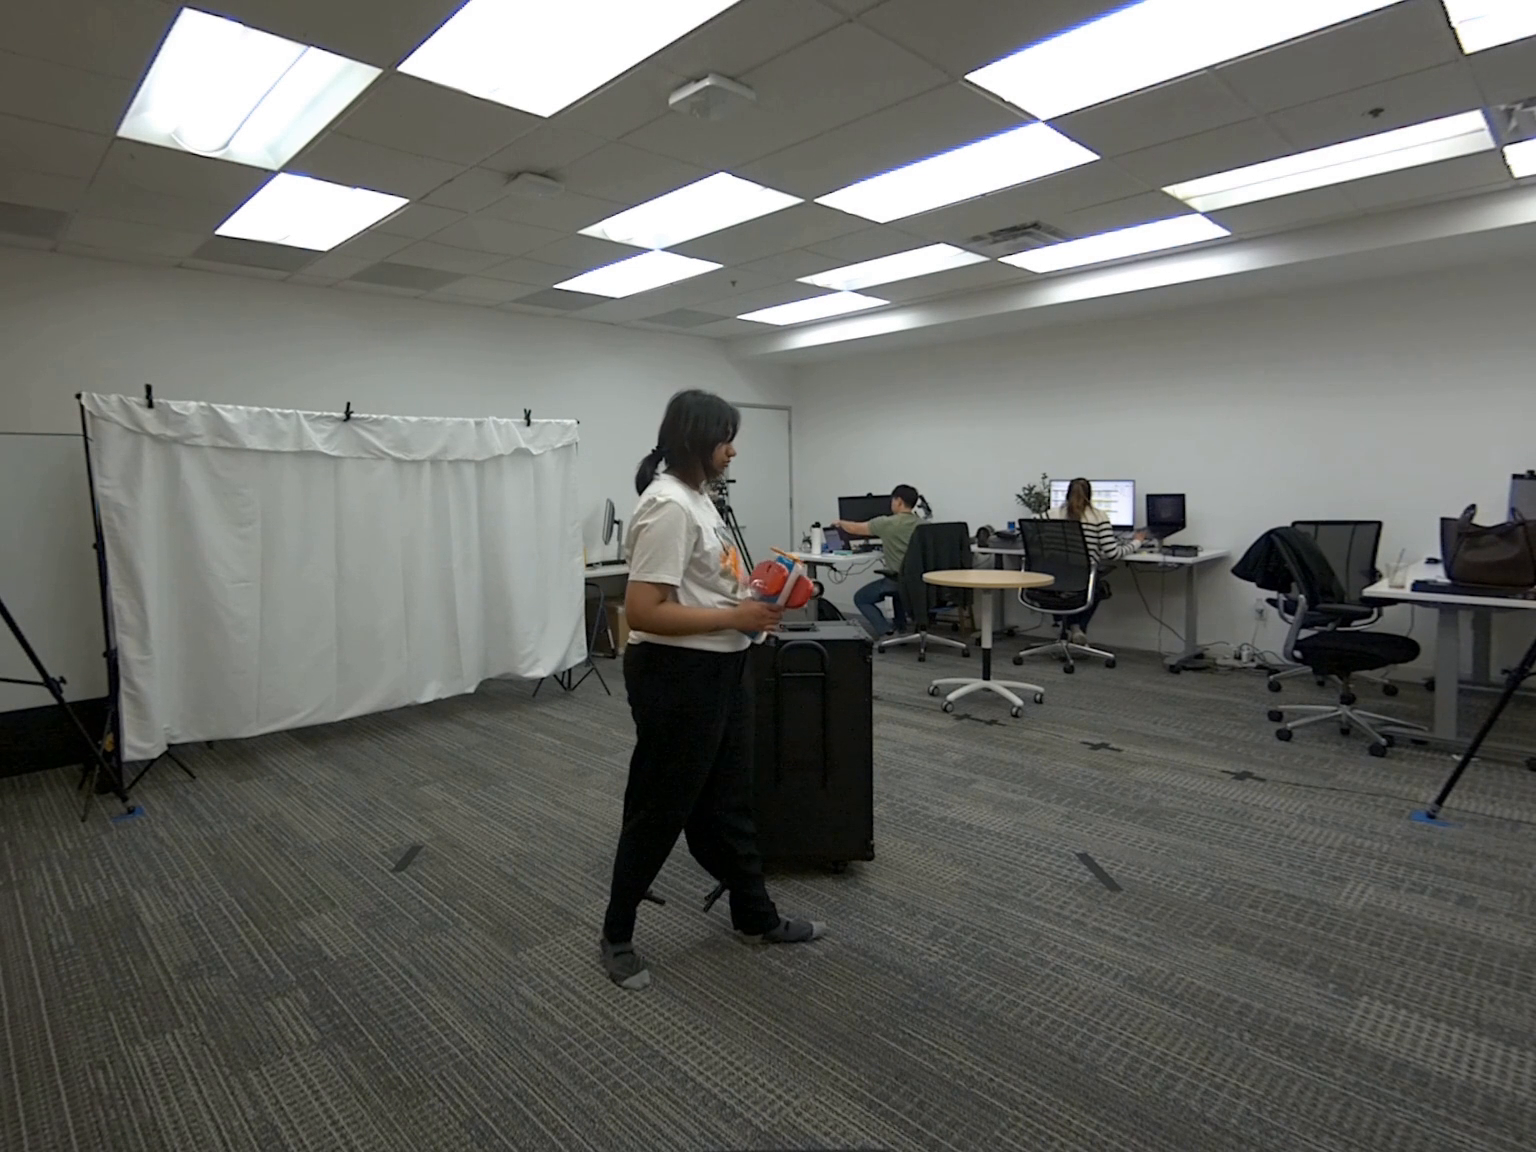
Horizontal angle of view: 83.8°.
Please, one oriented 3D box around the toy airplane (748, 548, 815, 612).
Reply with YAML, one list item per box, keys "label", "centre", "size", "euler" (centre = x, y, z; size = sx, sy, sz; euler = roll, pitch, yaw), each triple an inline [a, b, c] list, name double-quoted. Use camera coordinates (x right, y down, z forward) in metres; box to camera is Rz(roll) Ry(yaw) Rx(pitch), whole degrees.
- label: "toy airplane"
  centre: [0.021, 0.061, 2.328]
  size: [0.254, 0.153, 0.261]
  euler: [-26, 27, 51]
